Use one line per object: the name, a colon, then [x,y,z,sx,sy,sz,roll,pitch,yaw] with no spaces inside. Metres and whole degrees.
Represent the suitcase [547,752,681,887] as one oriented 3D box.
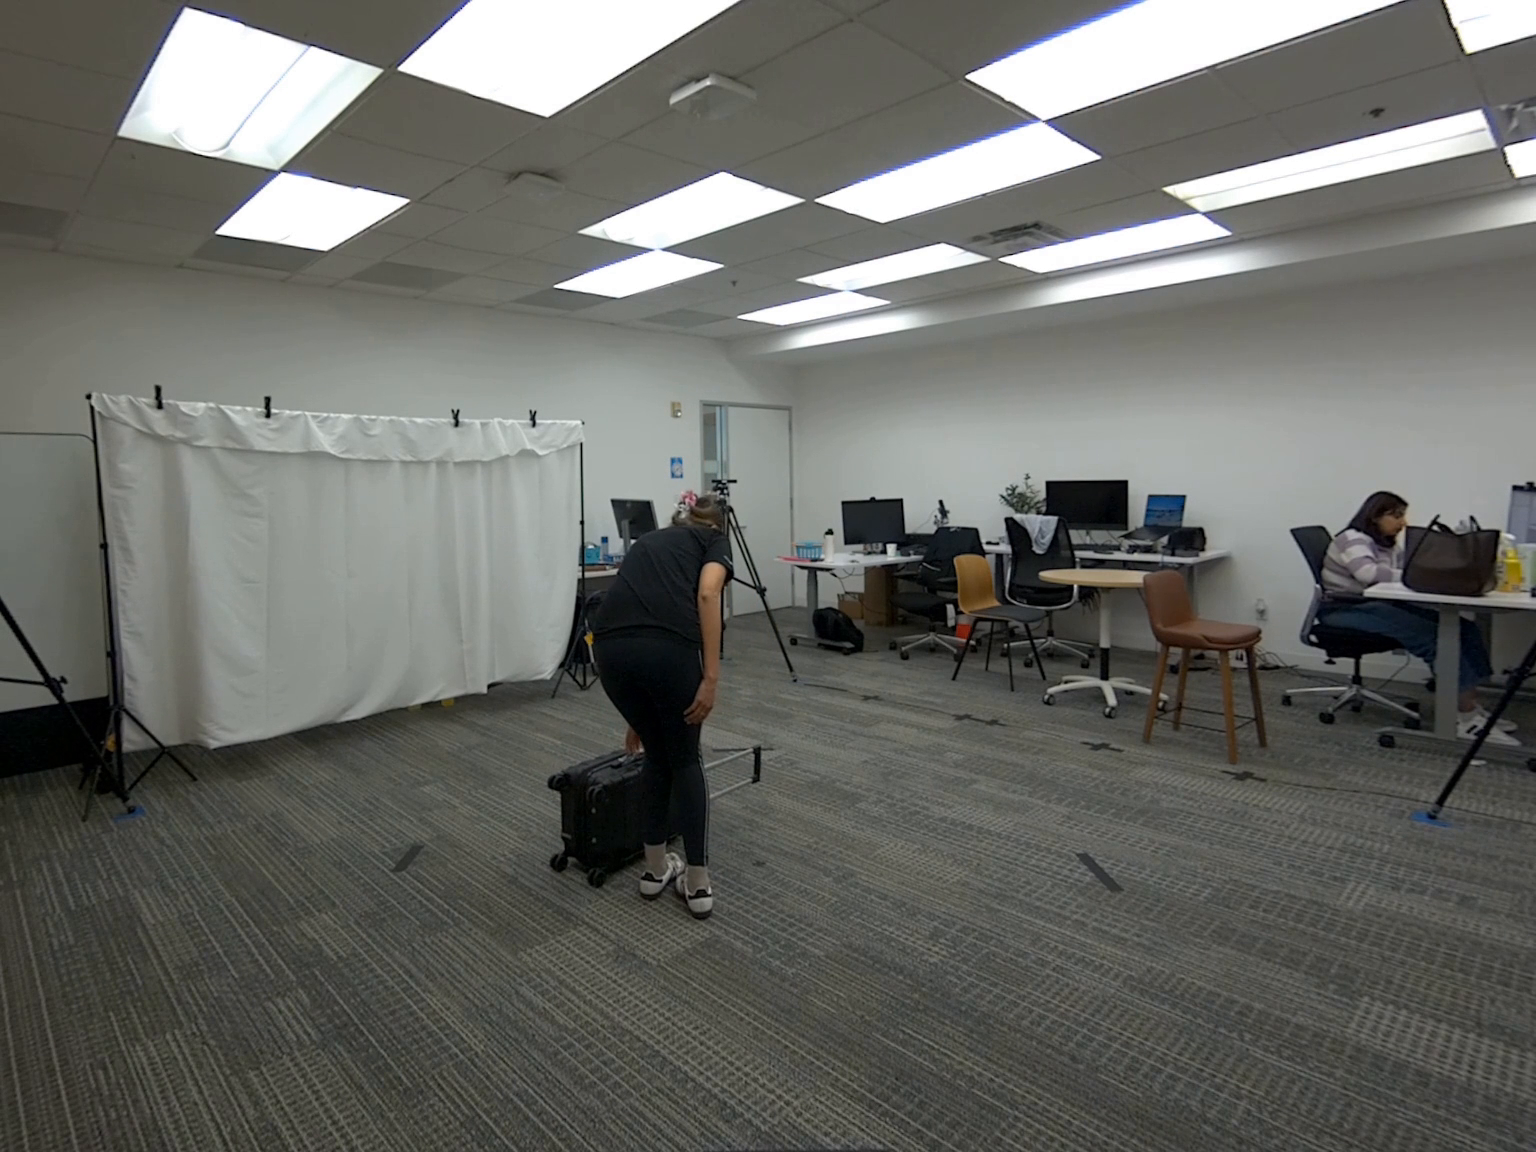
suitcase: [-0.416,0.836,3.380,0.264,0.383,0.954,1,6,36]
